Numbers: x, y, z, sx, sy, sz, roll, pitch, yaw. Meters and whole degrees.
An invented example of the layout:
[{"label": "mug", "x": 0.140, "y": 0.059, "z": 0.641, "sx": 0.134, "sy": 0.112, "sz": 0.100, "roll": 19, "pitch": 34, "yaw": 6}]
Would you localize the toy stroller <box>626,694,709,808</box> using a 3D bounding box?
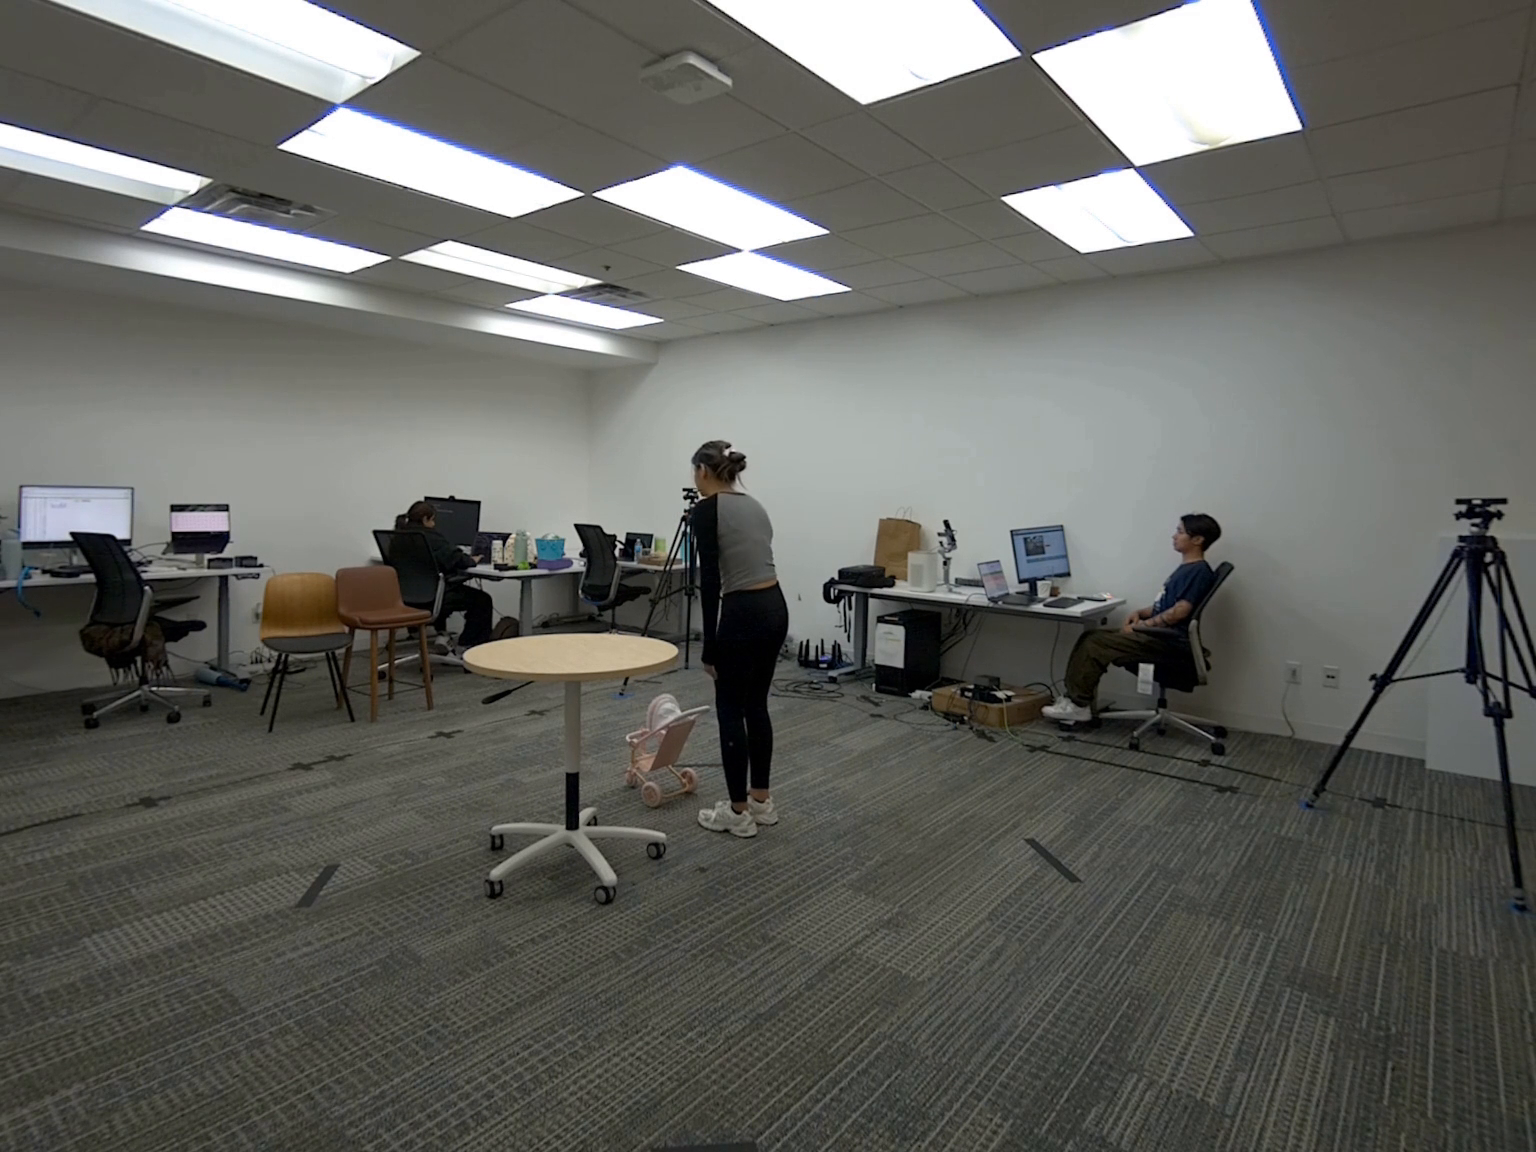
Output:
[{"label": "toy stroller", "x": -0.497, "y": 0.769, "z": 3.845, "sx": 0.355, "sy": 0.530, "sz": 0.273, "roll": 23, "pitch": 16, "yaw": 39}]
